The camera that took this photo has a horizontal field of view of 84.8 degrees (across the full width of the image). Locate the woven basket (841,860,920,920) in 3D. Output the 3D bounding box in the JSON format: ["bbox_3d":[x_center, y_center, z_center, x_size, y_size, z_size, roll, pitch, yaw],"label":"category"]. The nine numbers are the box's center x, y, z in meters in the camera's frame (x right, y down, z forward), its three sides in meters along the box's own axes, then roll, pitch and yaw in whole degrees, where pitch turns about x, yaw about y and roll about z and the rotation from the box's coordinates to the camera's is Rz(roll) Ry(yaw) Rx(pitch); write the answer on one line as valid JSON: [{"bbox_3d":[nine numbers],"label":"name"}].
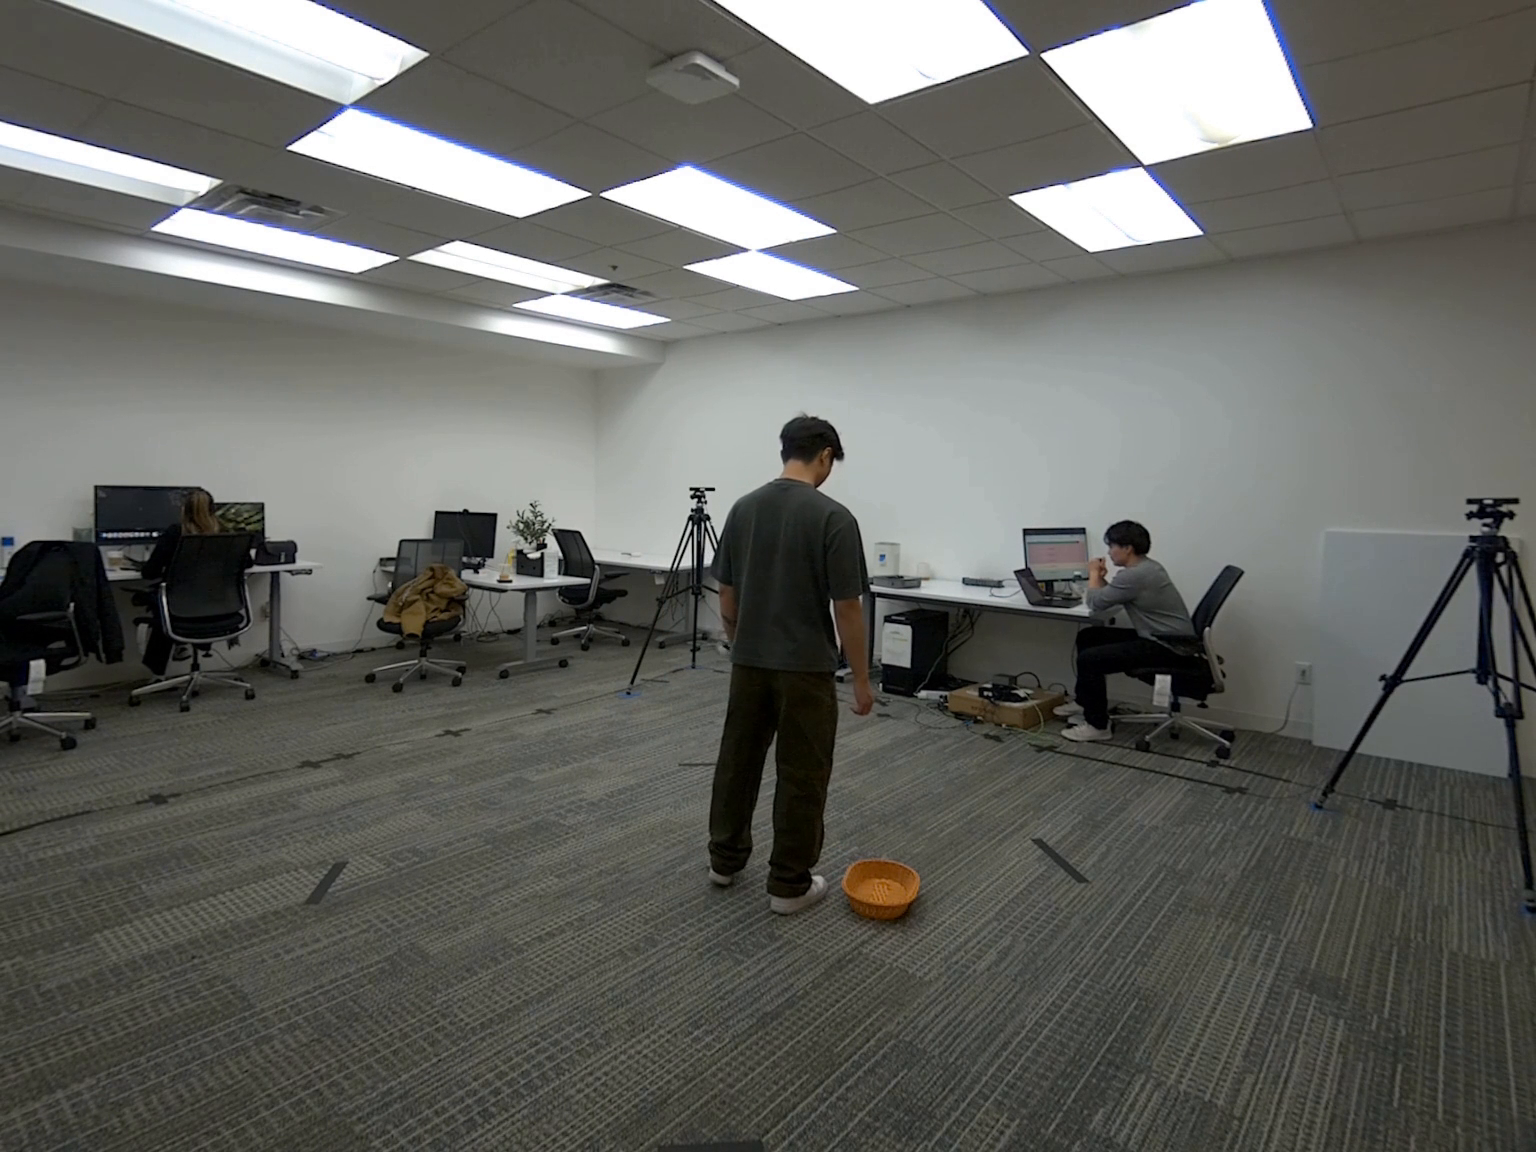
[{"bbox_3d":[0.375,1.065,2.896,0.259,0.073,0.343,4,6,22],"label":"woven basket"}]
